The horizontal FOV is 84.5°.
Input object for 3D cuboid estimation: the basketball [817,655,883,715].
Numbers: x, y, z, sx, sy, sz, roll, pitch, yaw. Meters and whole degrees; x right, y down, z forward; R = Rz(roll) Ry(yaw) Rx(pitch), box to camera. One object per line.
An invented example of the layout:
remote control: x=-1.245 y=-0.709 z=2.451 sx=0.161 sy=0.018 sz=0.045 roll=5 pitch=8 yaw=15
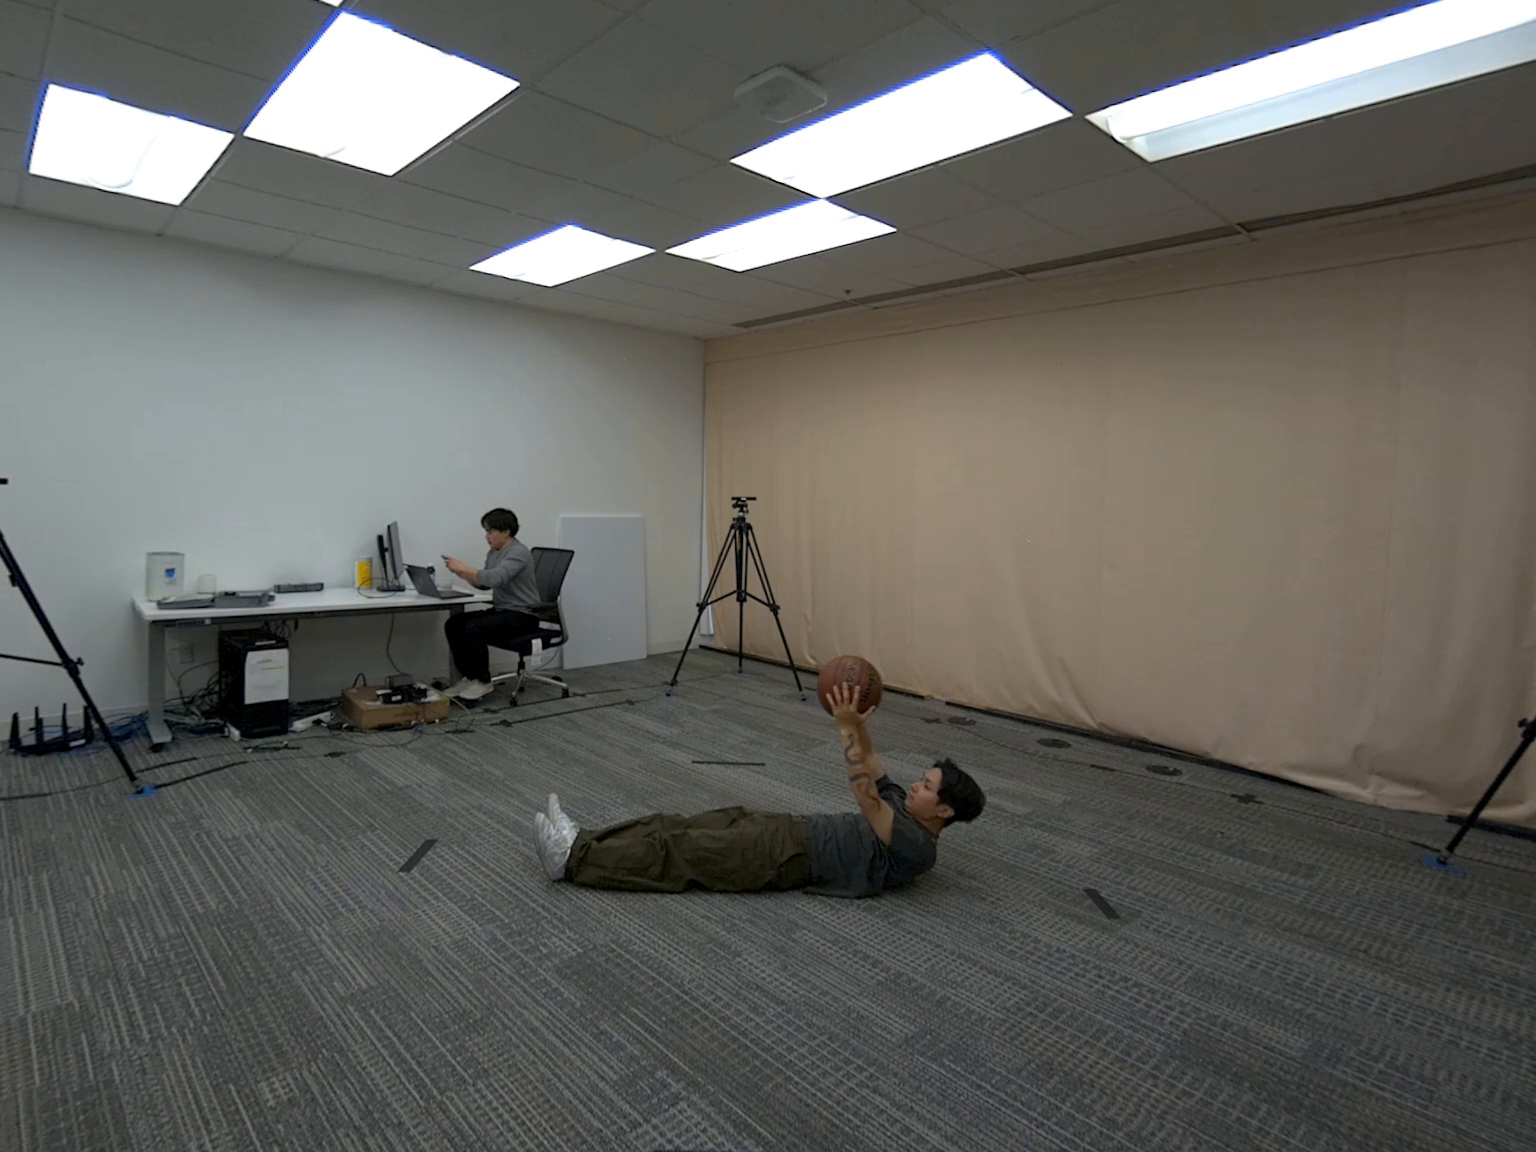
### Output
basketball: x=0.292 y=0.413 z=3.066 sx=0.236 sy=0.235 sz=0.237 roll=1 pitch=4 yaw=-1
